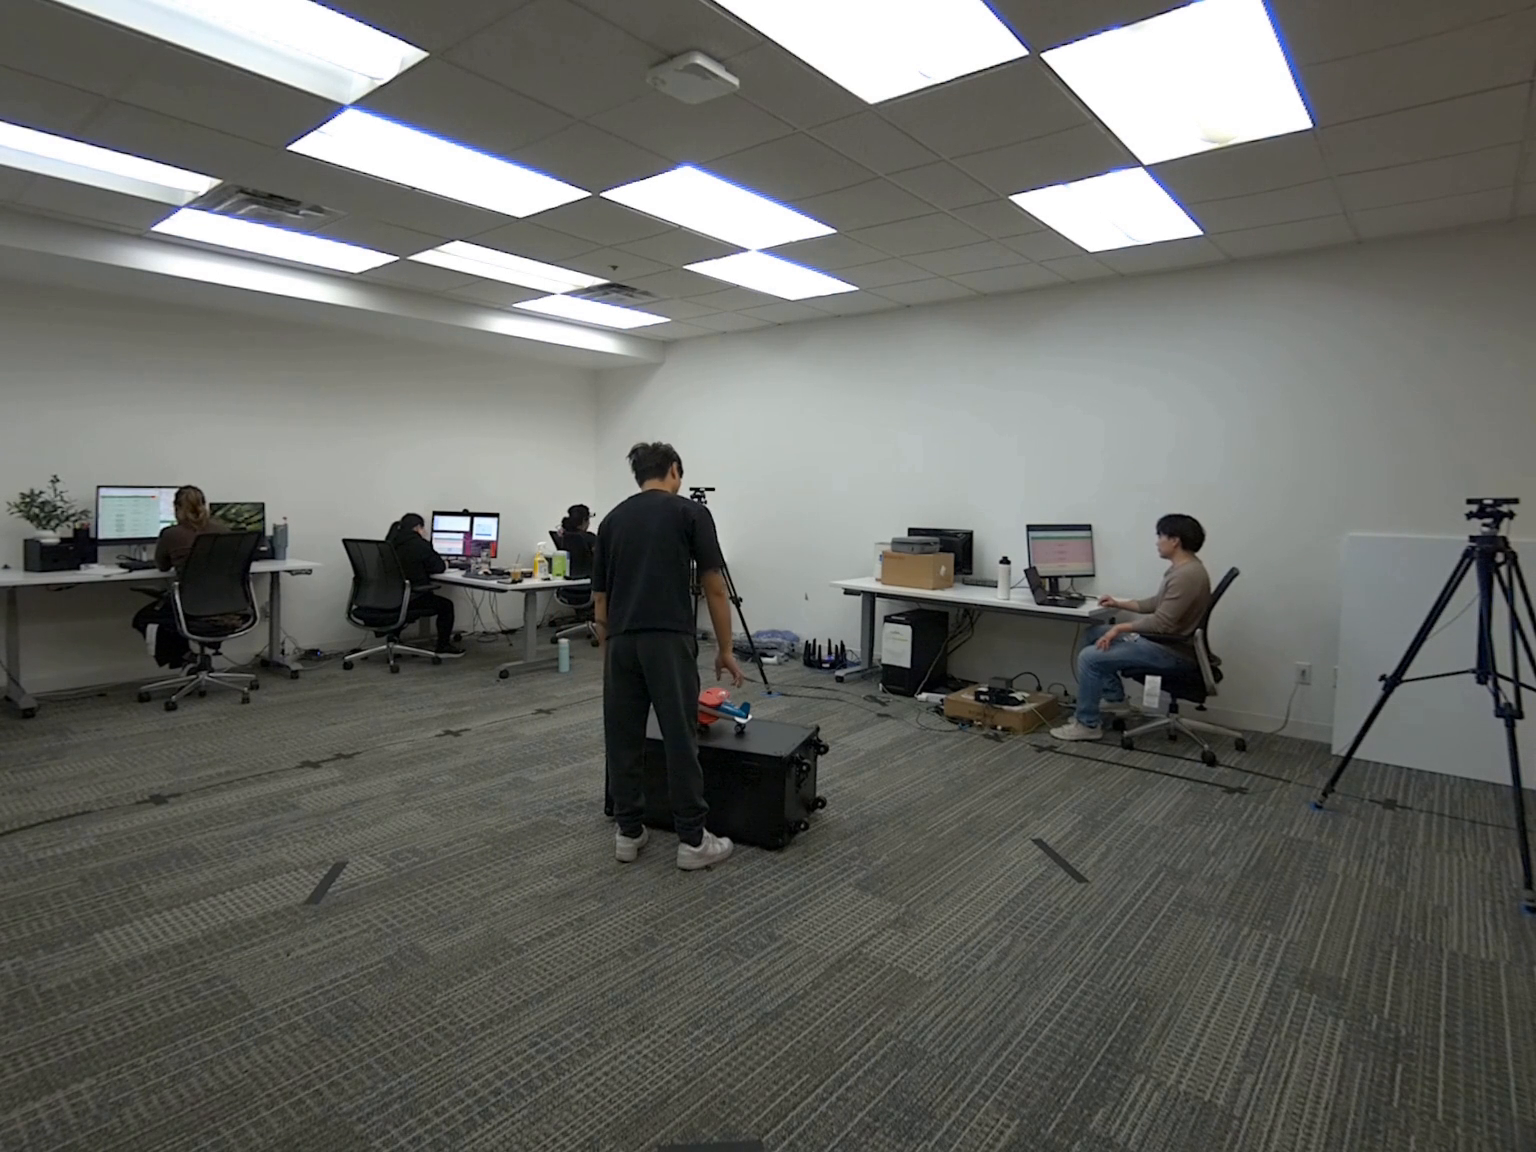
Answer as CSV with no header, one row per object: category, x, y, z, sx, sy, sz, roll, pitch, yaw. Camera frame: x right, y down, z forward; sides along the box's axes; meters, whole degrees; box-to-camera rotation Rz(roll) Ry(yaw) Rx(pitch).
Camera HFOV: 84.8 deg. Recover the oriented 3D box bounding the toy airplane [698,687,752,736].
toy airplane,-0.209,0.565,3.613,0.257,0.156,0.255,-1,5,-10
